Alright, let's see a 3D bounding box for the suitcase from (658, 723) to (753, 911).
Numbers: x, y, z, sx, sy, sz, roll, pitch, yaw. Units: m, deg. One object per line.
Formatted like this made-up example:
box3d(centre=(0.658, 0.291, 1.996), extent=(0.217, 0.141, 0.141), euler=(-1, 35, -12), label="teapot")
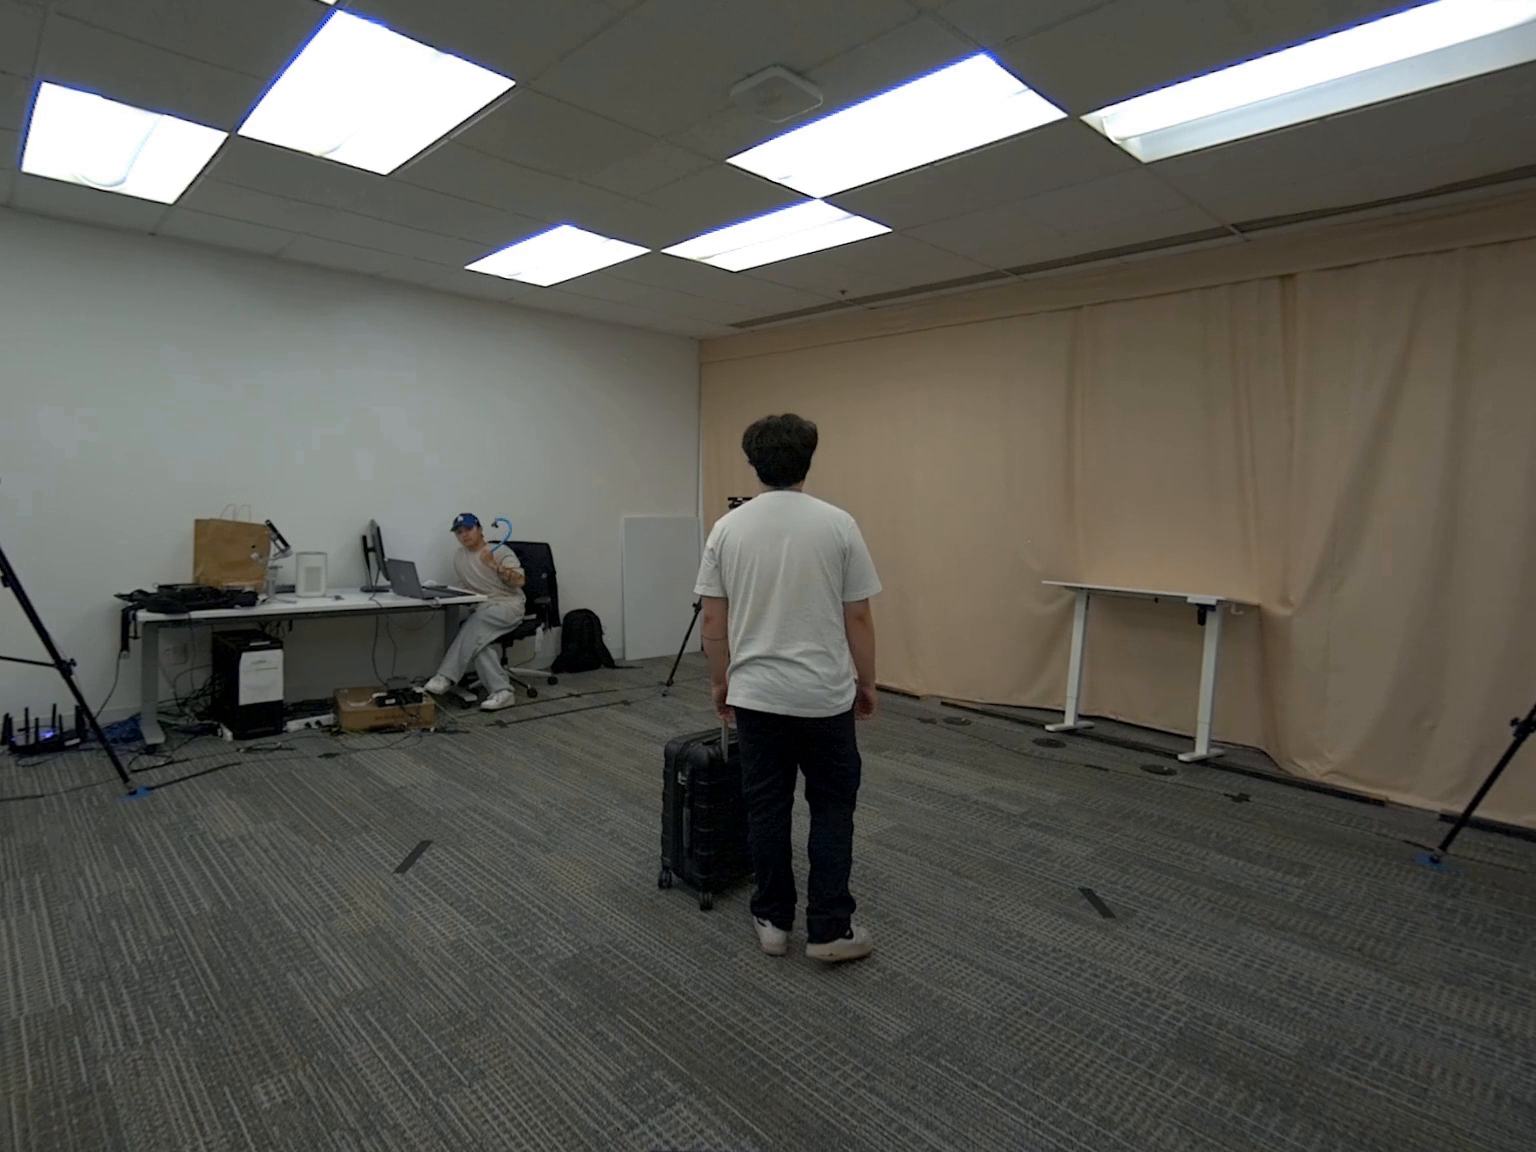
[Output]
box3d(centre=(-0.197, 0.636, 3.037), extent=(0.375, 0.978, 0.263), euler=(-1, 0, -45), label="suitcase")
